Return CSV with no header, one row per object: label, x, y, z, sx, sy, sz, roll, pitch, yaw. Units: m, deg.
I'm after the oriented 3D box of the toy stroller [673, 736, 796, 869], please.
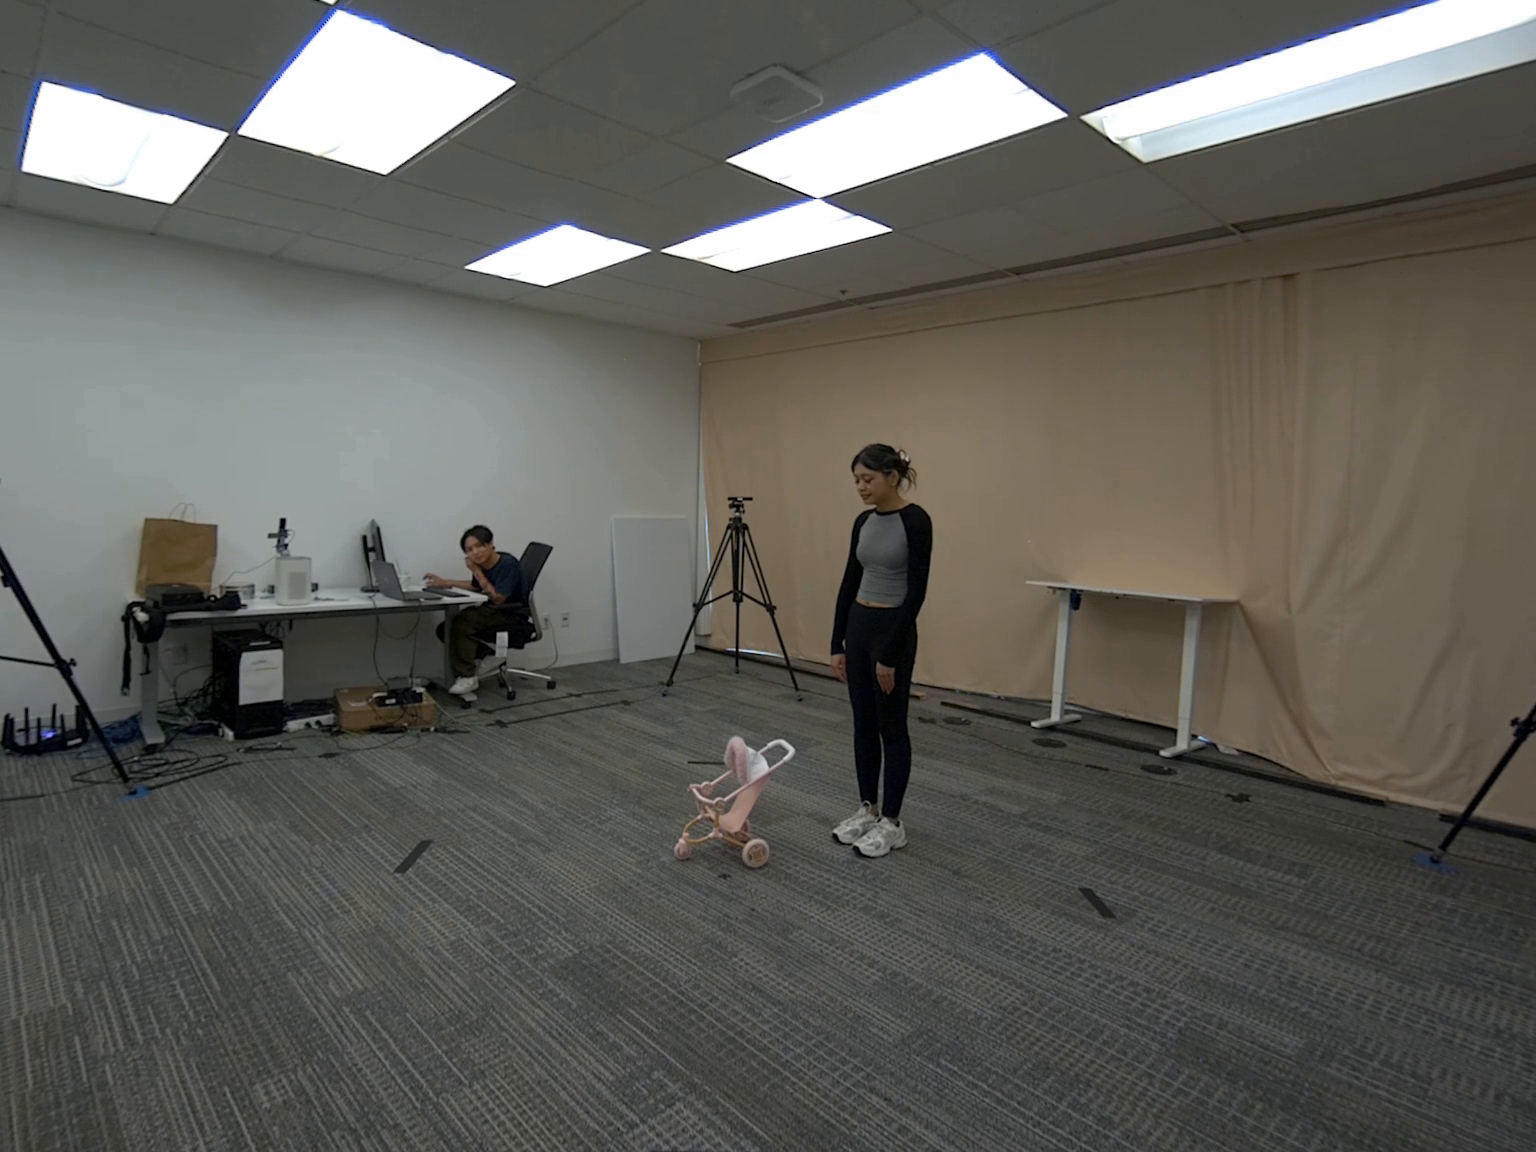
toy stroller,-0.151,0.866,3.278,0.337,0.535,0.285,17,-1,-14
